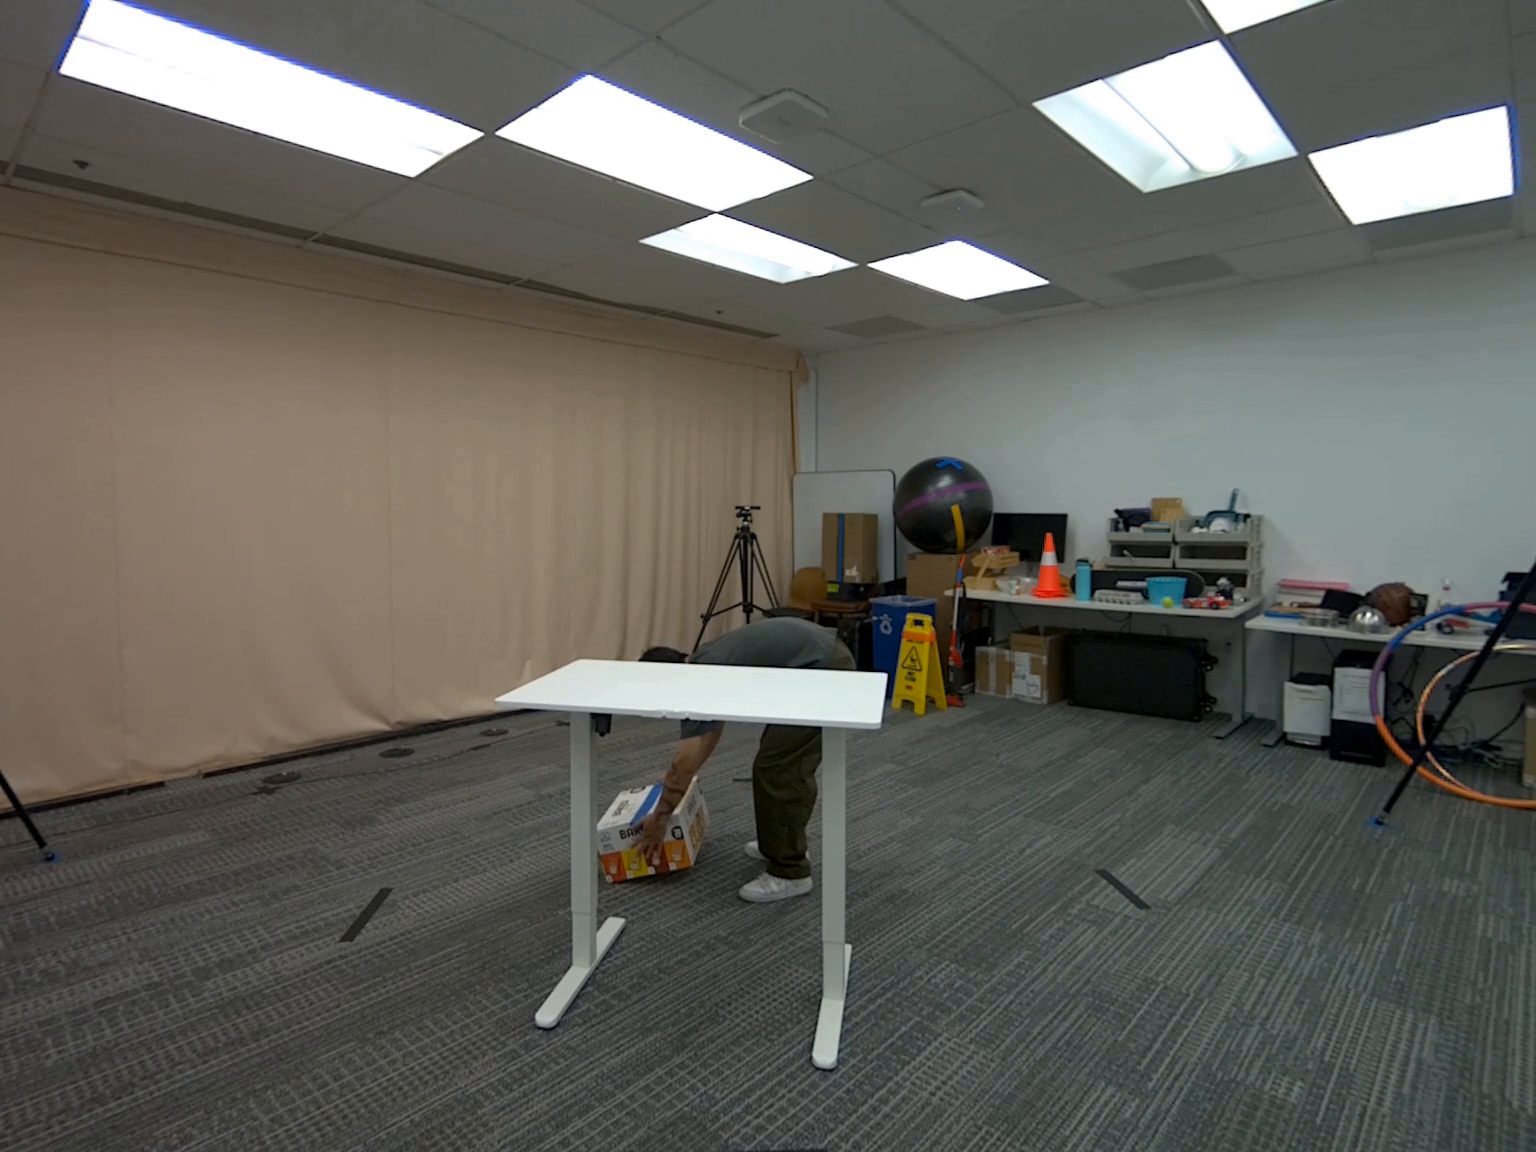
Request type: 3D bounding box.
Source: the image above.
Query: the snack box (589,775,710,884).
[{"bbox_3d":[-0.449,0.971,3.289,0.343,0.205,0.403,-13,4,8],"label":"snack box"}]
